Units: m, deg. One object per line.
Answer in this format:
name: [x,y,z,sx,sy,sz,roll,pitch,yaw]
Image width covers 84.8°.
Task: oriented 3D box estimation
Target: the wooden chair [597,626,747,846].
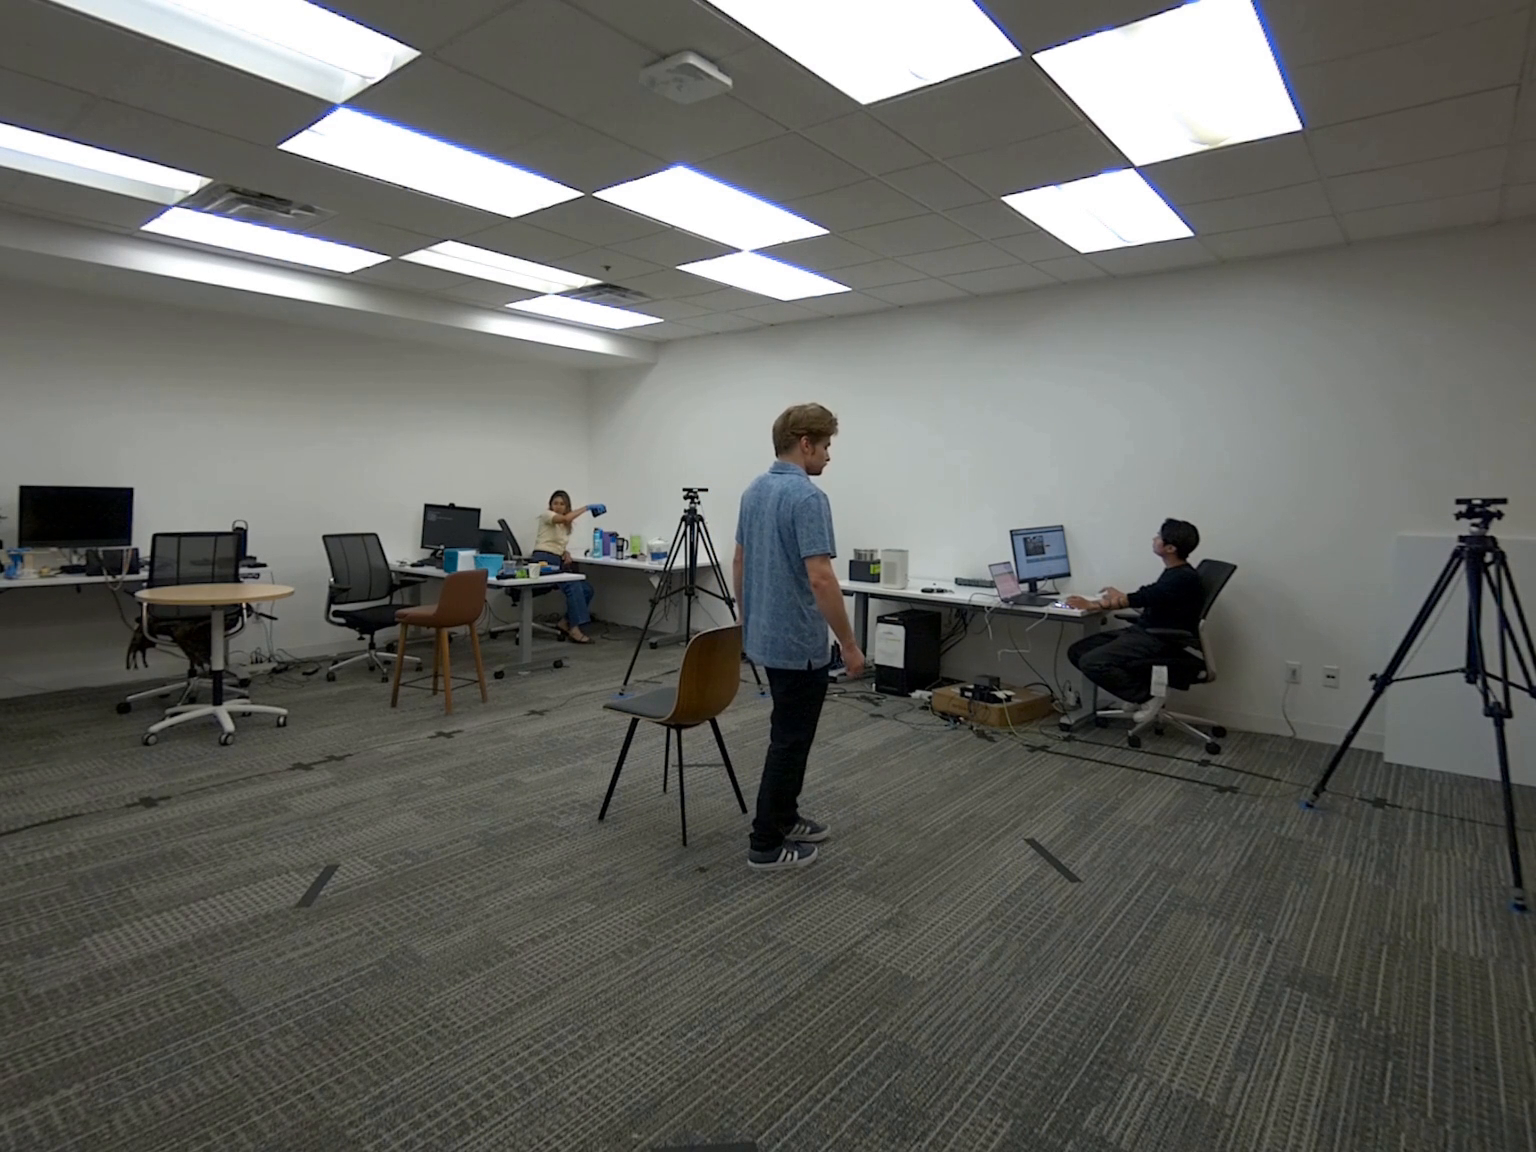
wooden chair: [-0.410,0.592,3.585,0.540,0.873,0.465,9,7,32]
